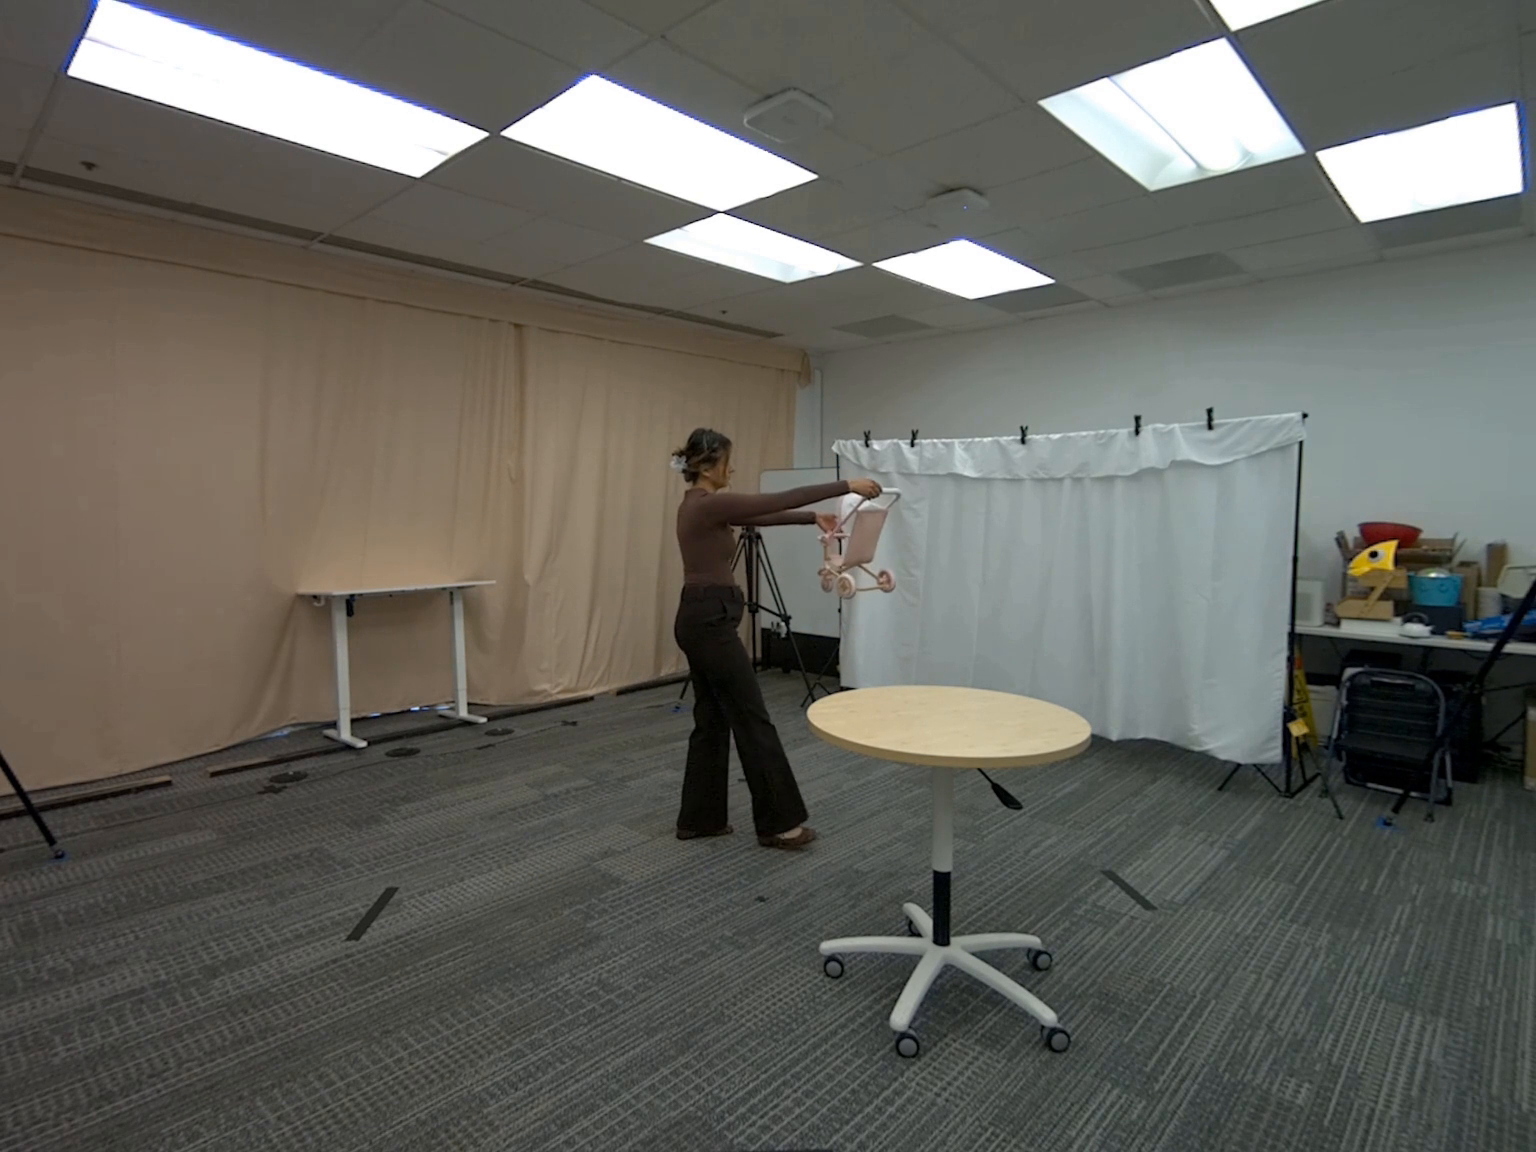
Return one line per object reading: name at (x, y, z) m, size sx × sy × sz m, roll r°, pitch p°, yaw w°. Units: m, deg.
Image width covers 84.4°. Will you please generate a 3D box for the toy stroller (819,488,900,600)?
toy stroller at (0.384, -0.145, 3.665) m, size 0.274 × 0.531 × 0.353 m, roll -4°, pitch 17°, yaw -33°
